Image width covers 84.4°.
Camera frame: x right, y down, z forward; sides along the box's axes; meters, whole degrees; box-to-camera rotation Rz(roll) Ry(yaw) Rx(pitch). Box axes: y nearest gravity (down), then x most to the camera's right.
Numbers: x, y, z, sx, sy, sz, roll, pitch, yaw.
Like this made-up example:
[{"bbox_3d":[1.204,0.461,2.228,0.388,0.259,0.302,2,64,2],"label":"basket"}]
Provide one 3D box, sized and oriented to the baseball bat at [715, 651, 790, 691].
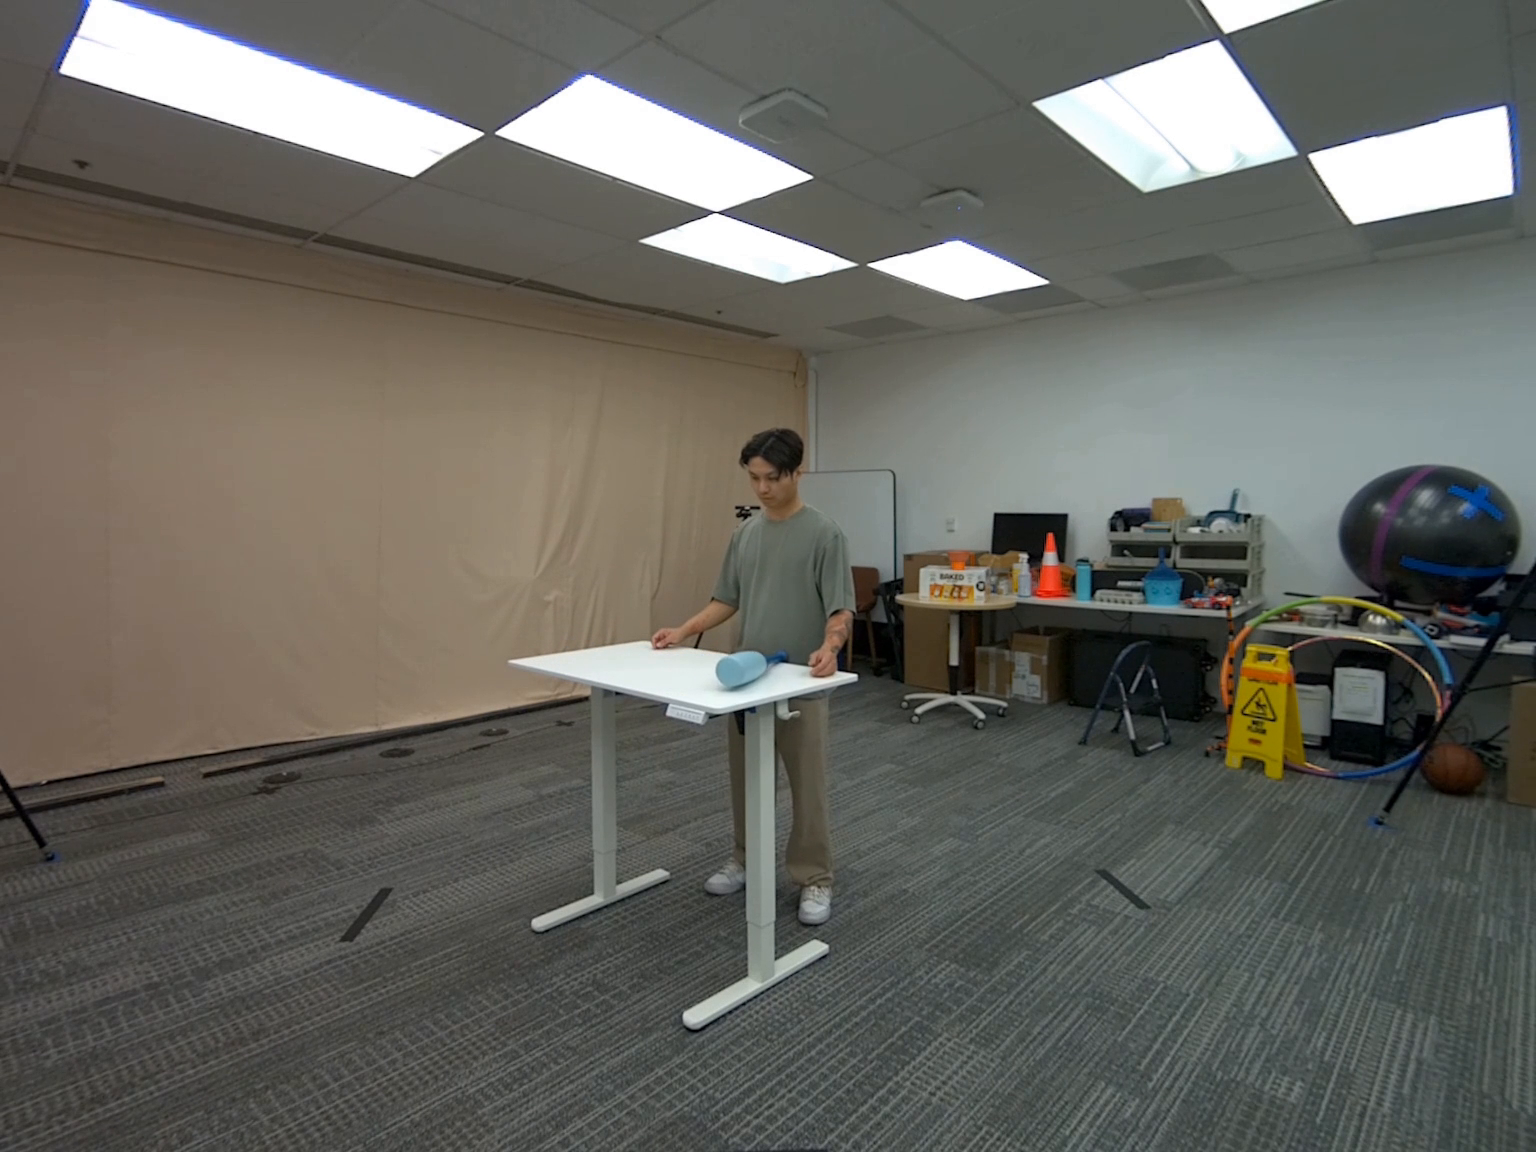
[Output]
[{"bbox_3d":[-0.030,0.265,2.538,0.090,0.089,0.533,1,-1,14],"label":"baseball bat"}]
